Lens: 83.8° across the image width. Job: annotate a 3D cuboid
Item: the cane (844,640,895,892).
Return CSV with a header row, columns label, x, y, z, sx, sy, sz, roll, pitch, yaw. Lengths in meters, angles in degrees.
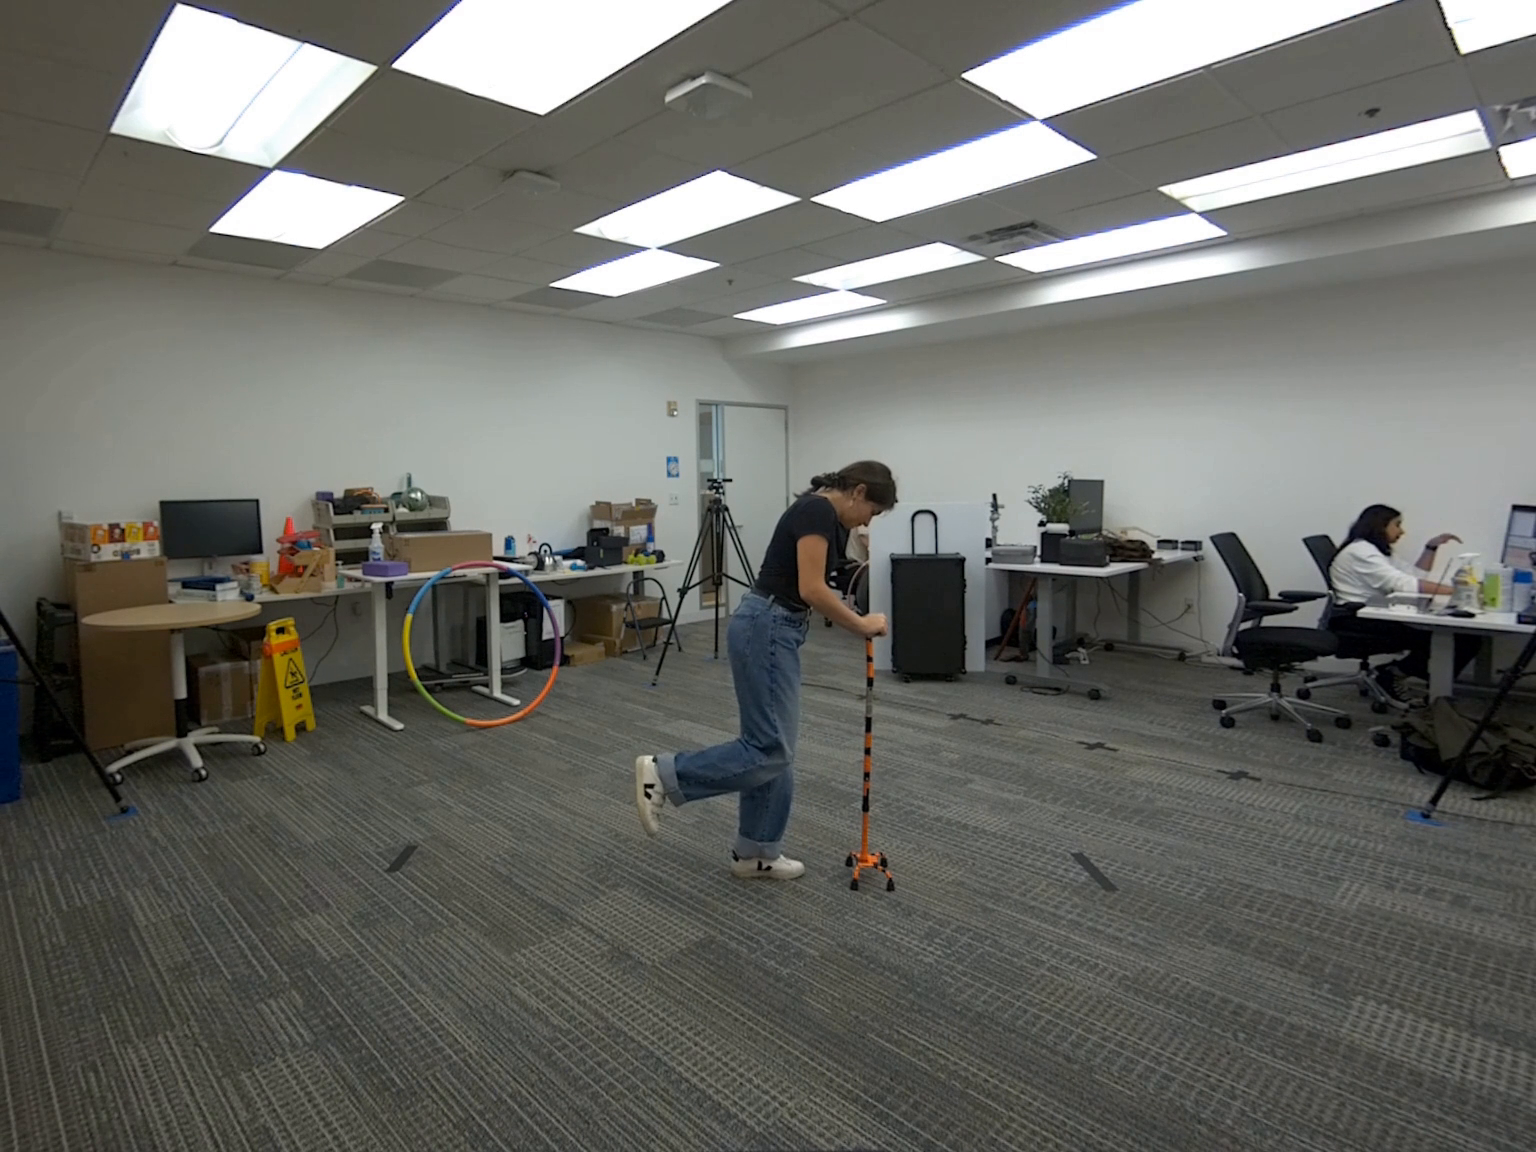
label,x,y,z,sx,sy,sz,roll,pitch,yaw
cane,0.360,0.593,2.949,0.152,0.904,0.207,0,4,1
